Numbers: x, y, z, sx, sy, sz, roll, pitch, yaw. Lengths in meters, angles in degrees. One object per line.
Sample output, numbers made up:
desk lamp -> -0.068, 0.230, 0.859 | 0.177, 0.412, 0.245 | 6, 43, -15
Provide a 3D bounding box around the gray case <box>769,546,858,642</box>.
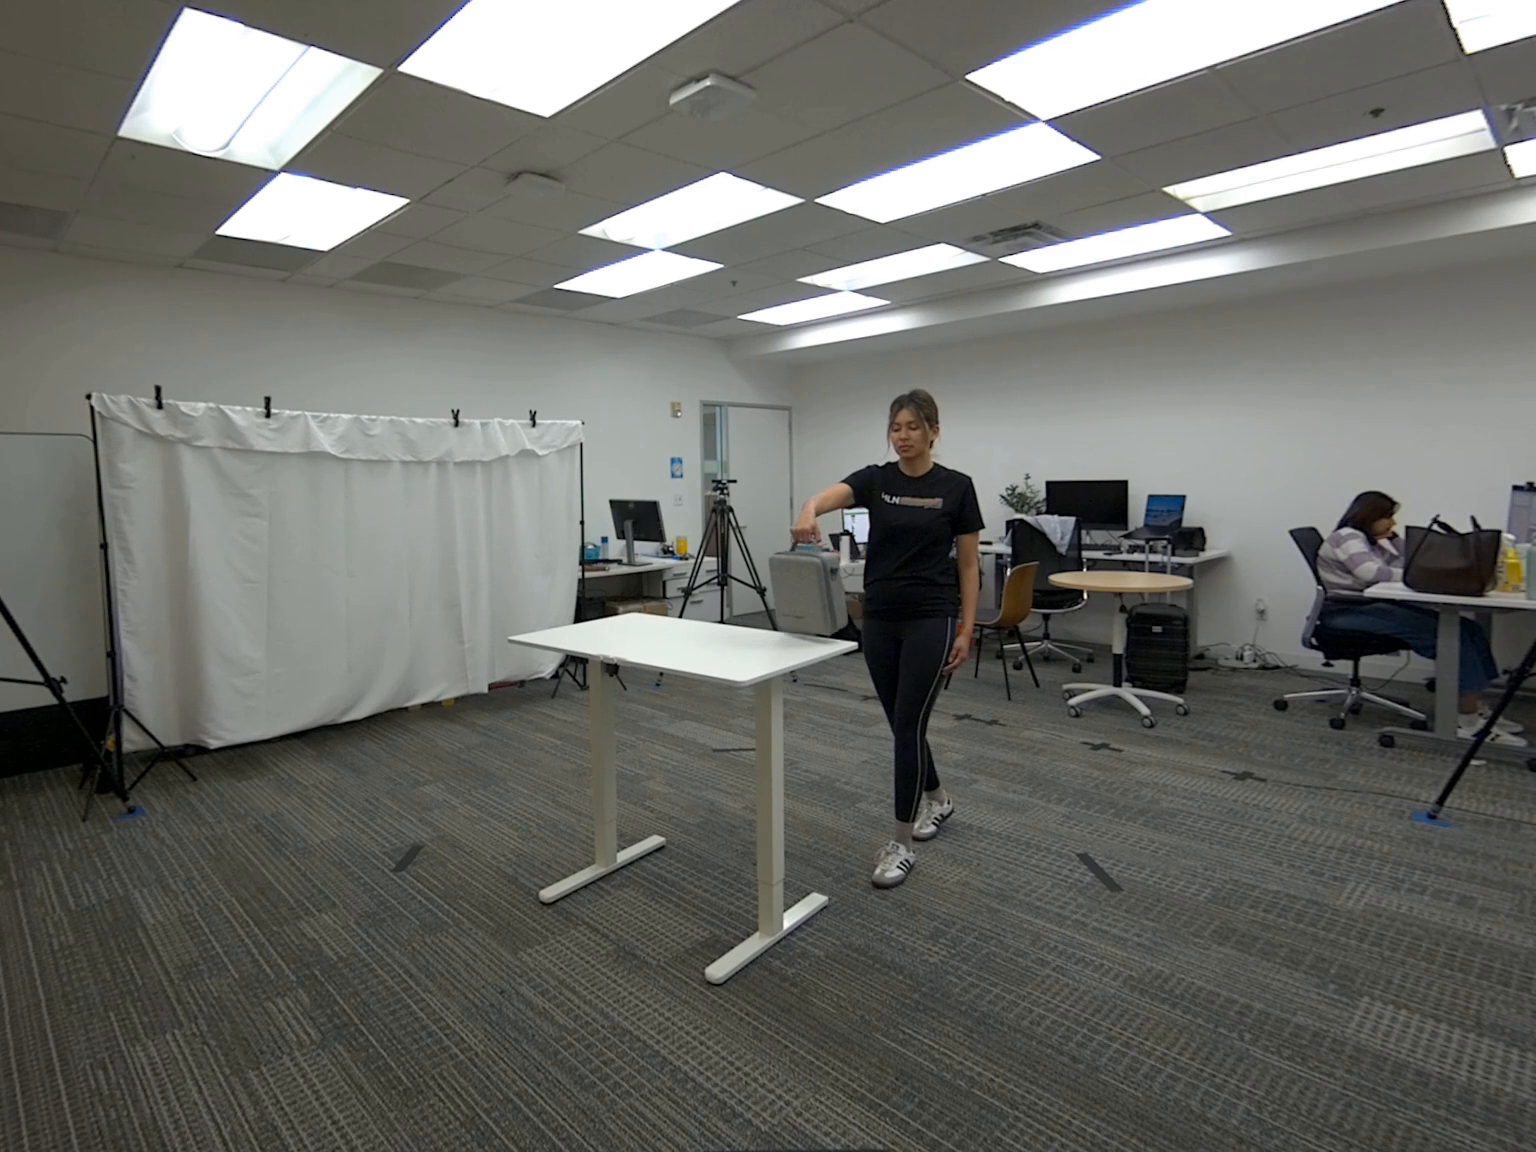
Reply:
gray case -> 0.124, 0.043, 2.743 | 0.102, 0.258, 0.264 | -12, 11, -34
